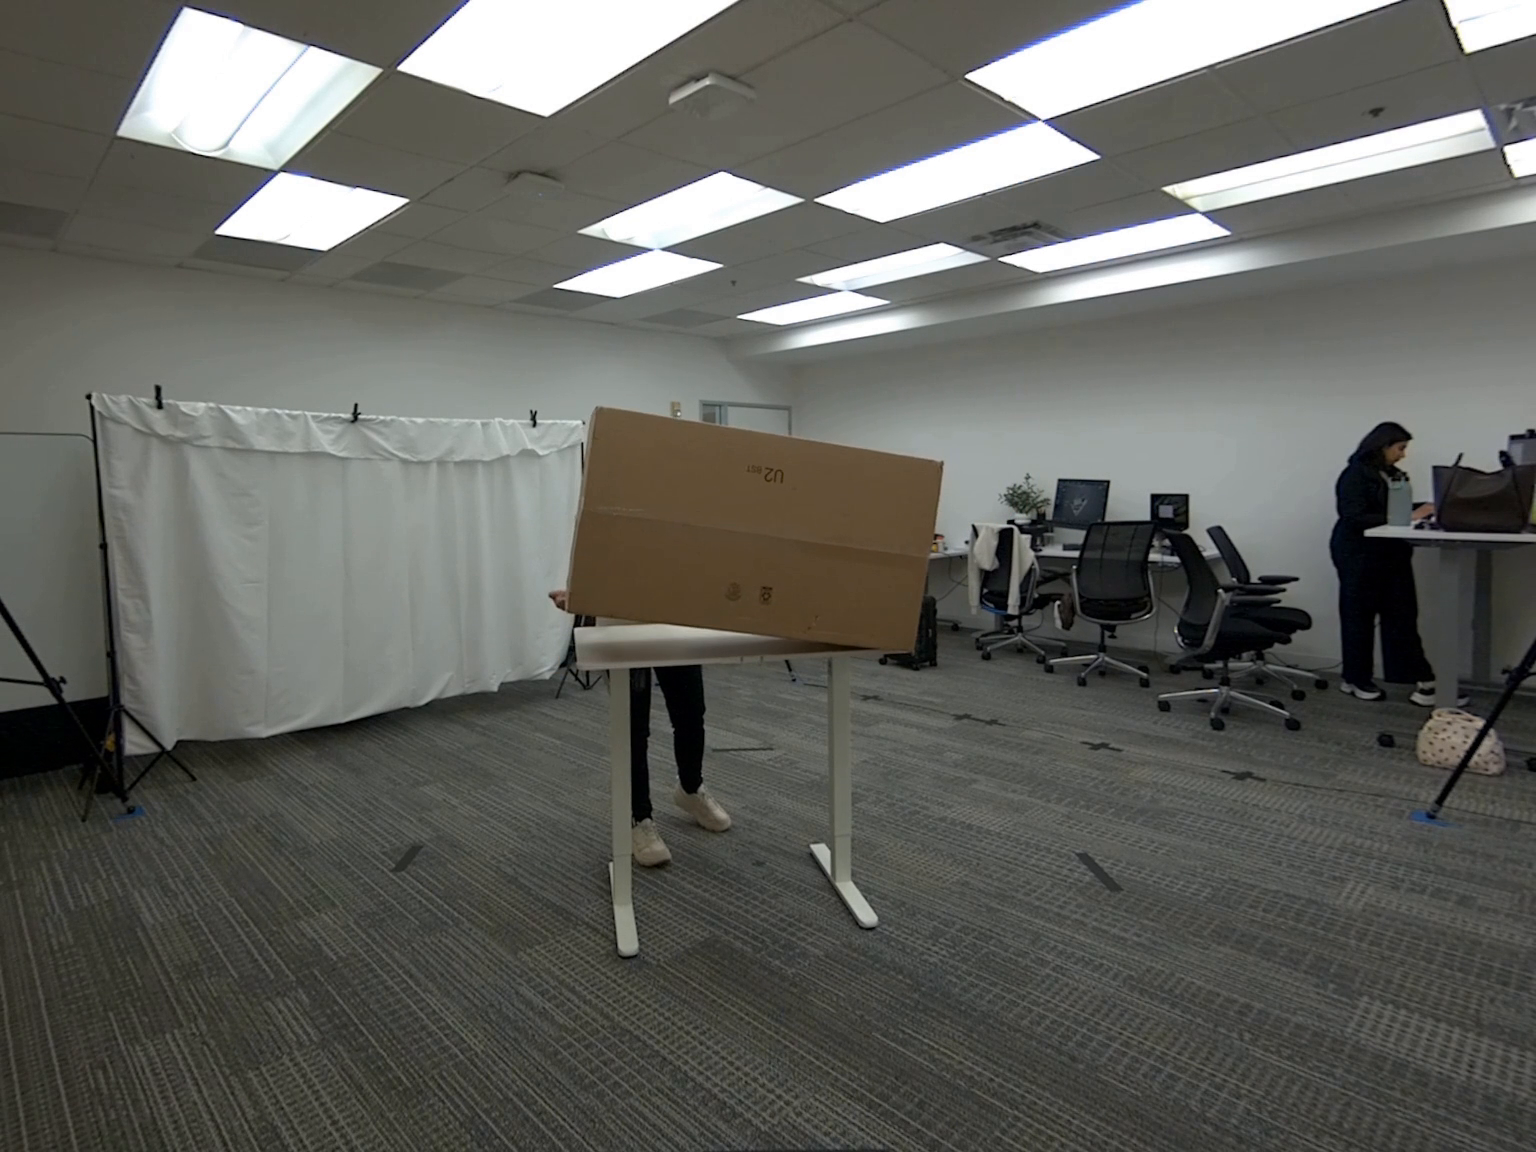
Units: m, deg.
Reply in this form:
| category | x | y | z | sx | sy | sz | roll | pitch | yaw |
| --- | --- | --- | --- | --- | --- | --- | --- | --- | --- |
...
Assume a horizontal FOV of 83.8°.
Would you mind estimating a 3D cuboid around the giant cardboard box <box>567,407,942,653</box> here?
| category | x | y | z | sx | sy | sz | roll | pitch | yaw |
| --- | --- | --- | --- | --- | --- | --- | --- | --- | --- |
| giant cardboard box | -0.065 | -0.129 | 2.627 | 1.015 | 0.582 | 0.454 | 7 | 5 | -11 |
